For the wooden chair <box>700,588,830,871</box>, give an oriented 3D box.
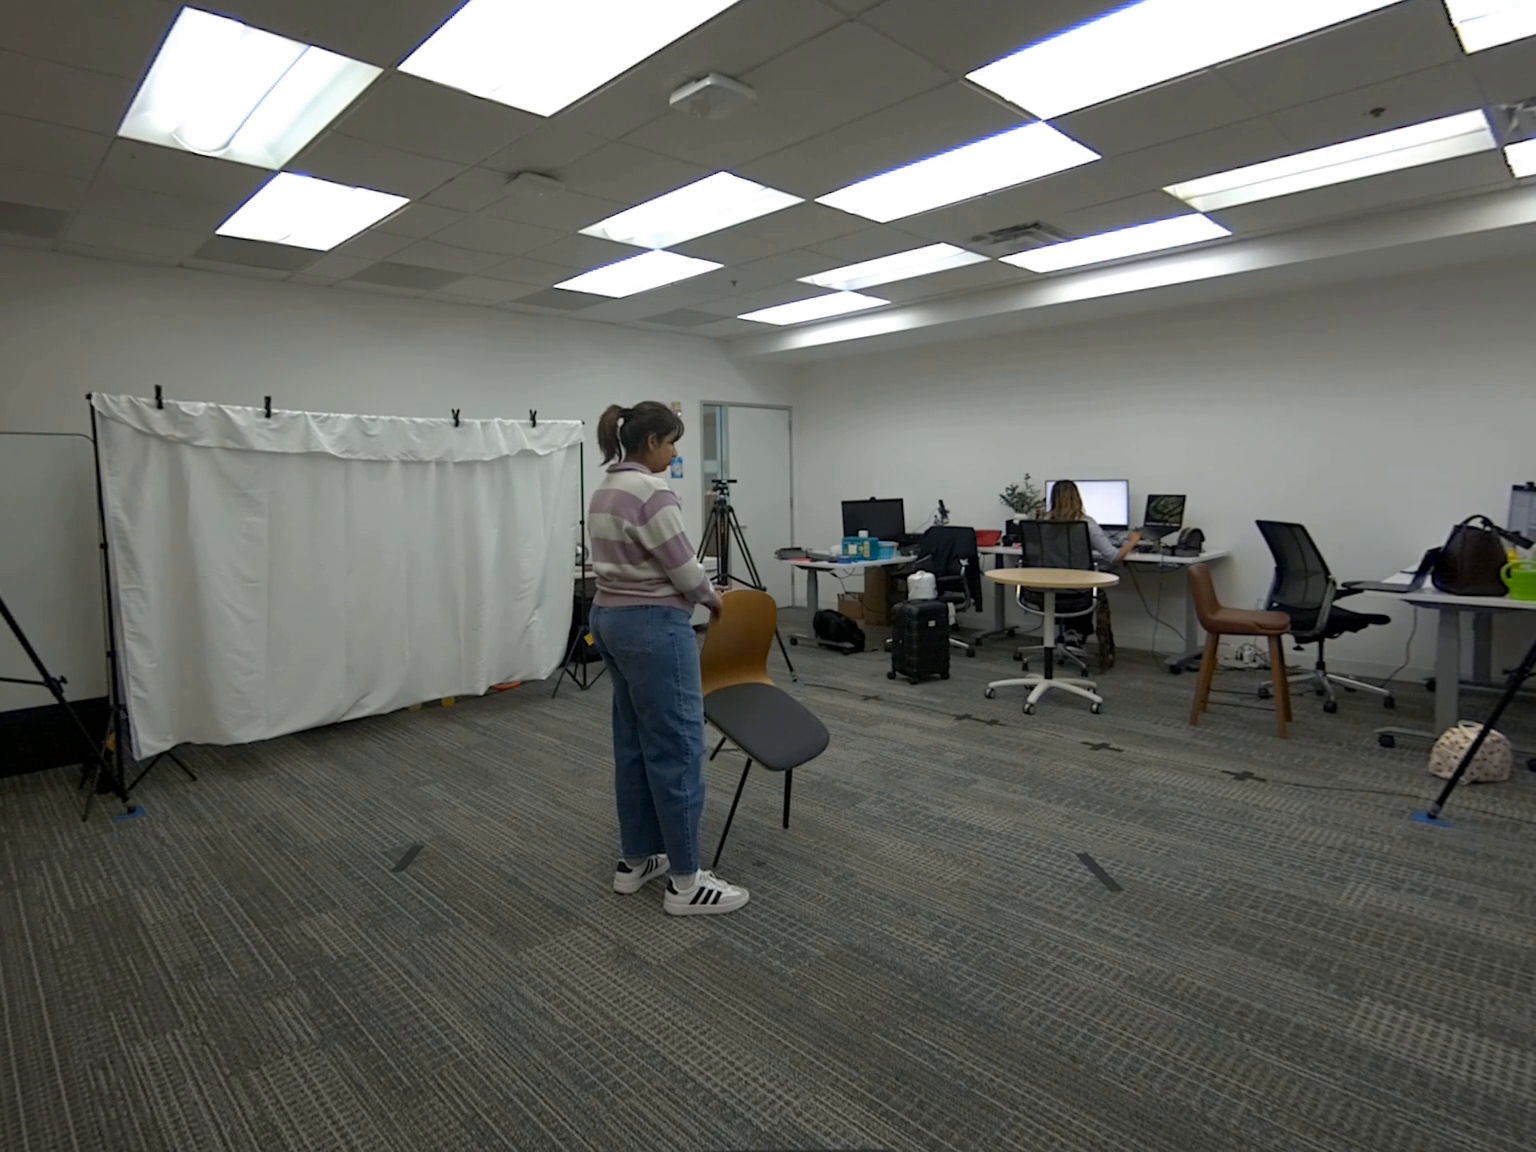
[{"bbox_3d":[-0.057,0.557,3.221,0.542,0.869,0.466,30,21,32],"label":"wooden chair"}]
